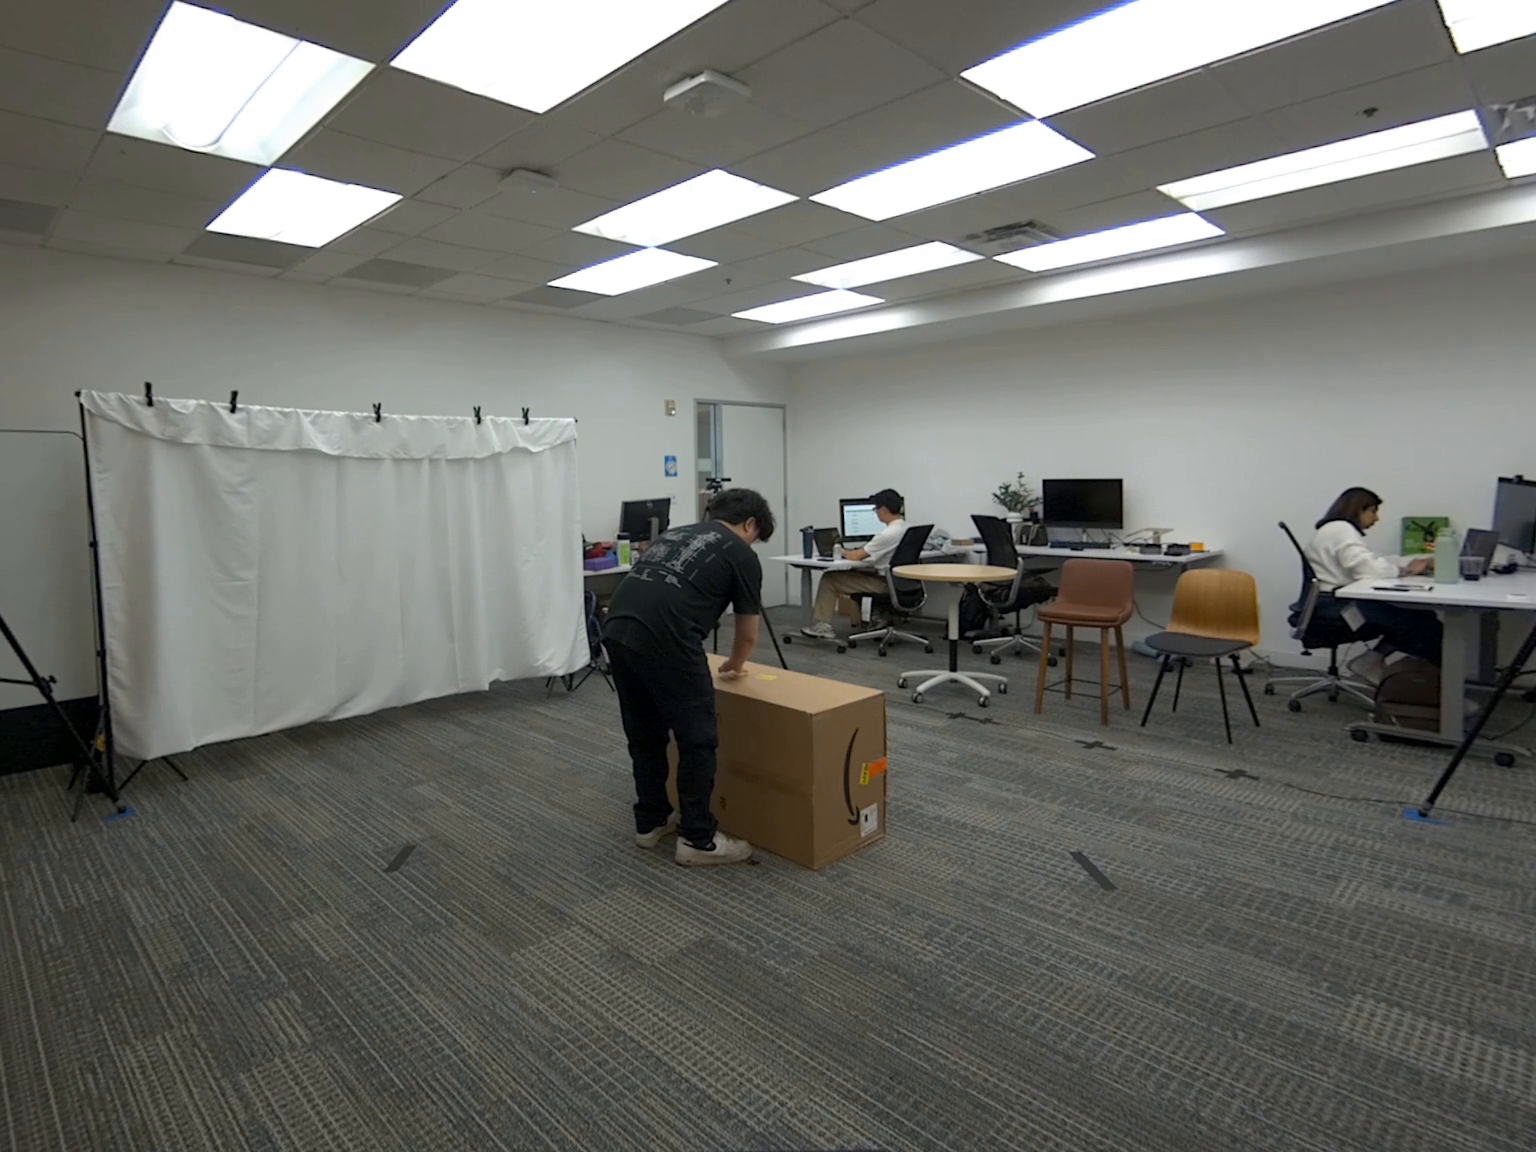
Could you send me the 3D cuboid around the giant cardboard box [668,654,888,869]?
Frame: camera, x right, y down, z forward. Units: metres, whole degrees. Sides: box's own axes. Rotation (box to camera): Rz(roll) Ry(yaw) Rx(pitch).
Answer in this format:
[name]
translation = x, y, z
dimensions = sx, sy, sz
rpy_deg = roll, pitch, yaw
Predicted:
[giant cardboard box]
translation = -0.056, 0.710, 3.530
dimensions = 0.435, 0.582, 1.059
rpy_deg = -4, 7, -44
